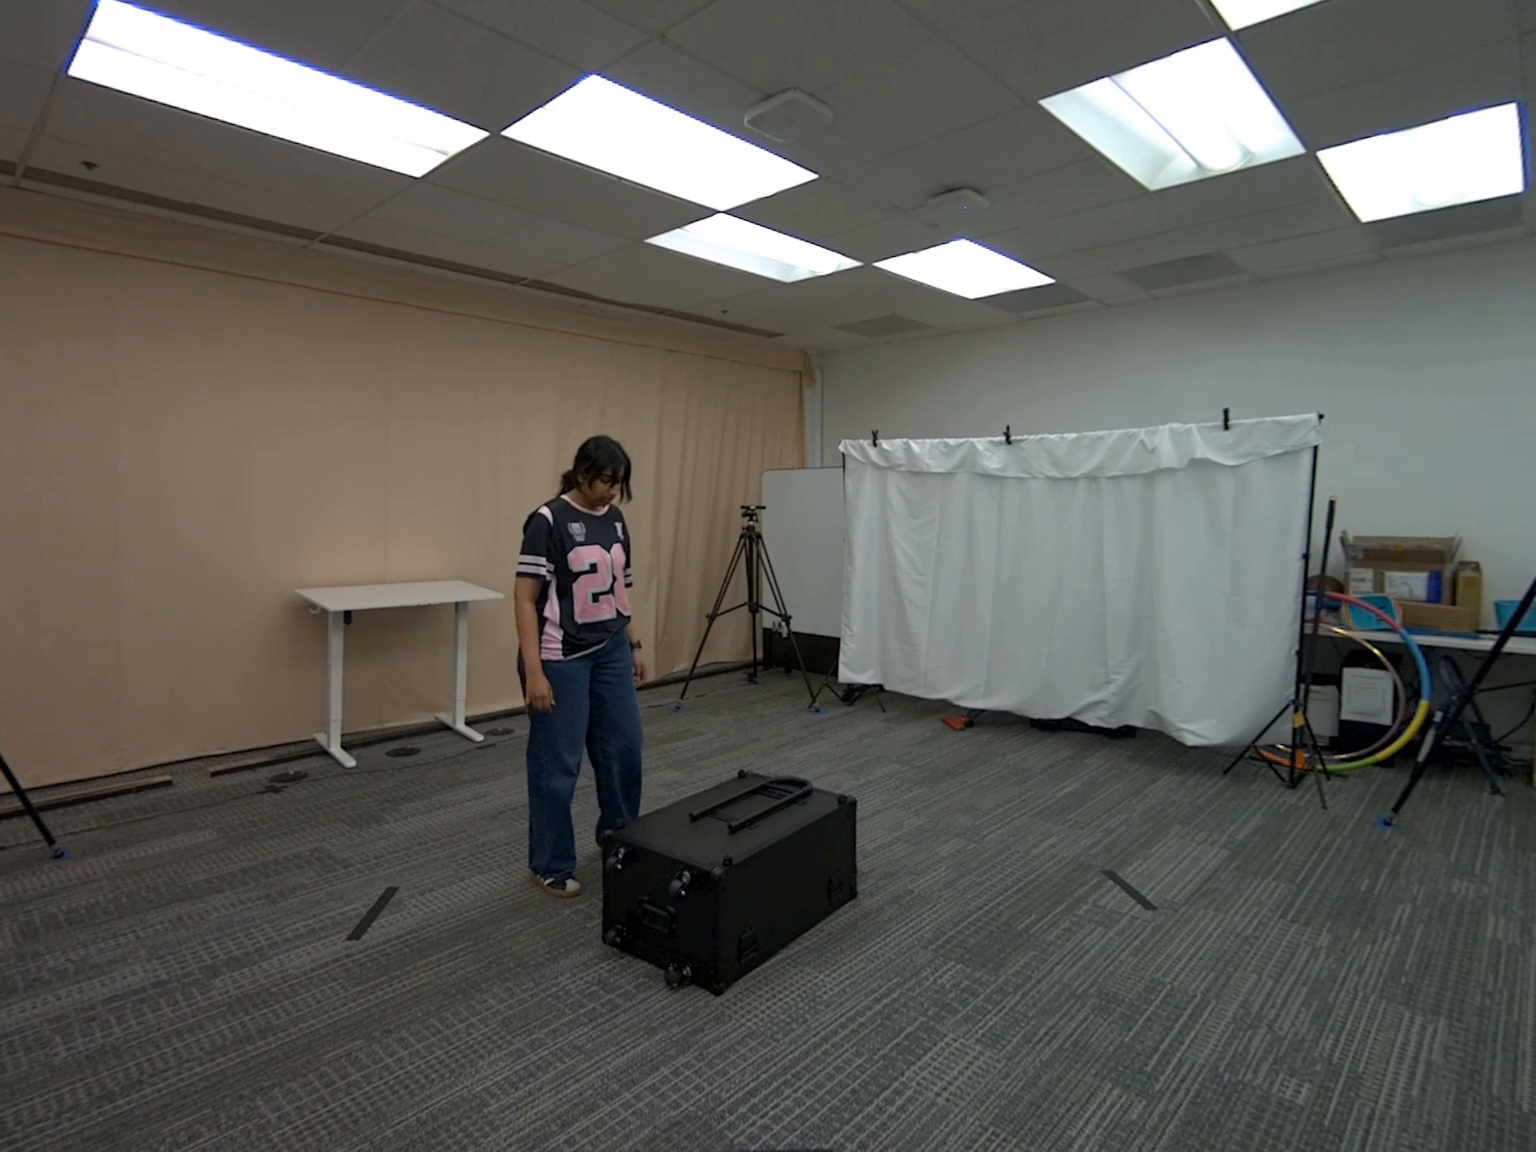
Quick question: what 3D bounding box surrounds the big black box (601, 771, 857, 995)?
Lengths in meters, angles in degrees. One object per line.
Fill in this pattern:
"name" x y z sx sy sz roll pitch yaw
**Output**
"big black box" -0.118 0.974 2.795 0.540 0.384 0.843 5 7 37
